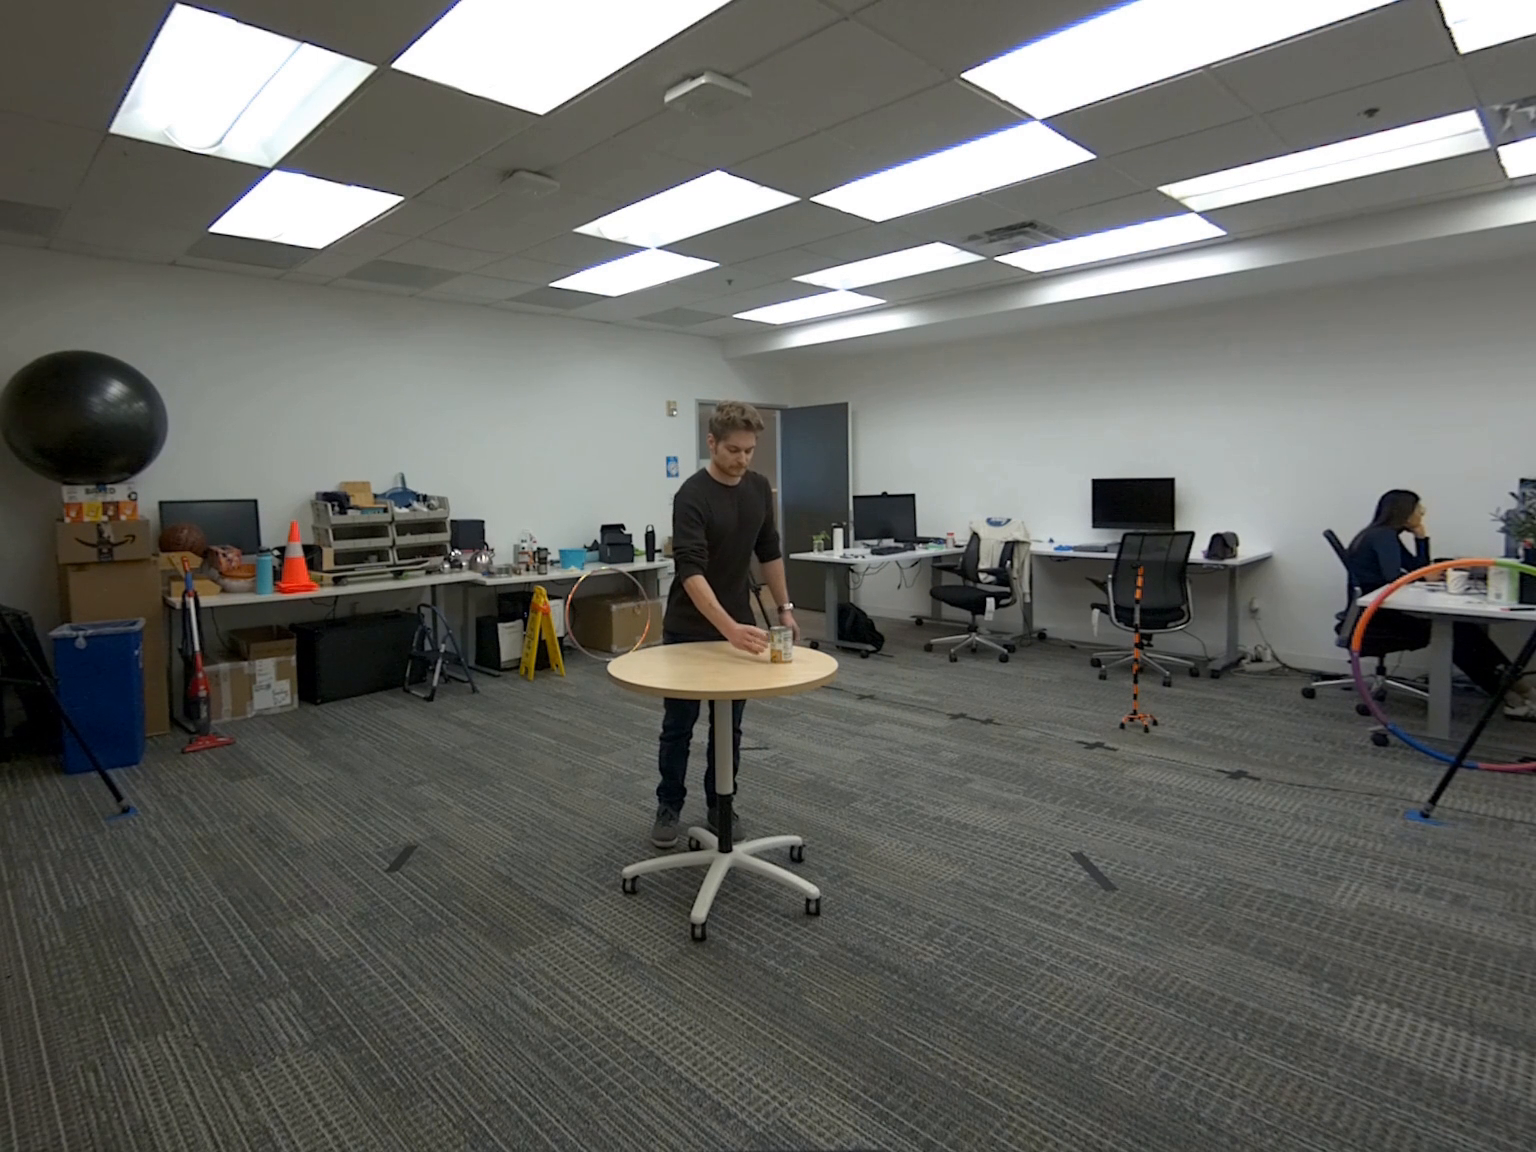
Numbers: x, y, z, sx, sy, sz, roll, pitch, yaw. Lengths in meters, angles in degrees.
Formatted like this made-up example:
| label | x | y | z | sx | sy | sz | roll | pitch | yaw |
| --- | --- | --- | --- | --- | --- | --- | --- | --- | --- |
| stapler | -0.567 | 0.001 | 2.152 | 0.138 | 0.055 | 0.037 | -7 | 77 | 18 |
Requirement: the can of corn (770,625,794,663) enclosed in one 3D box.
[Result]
| label | x | y | z | sx | sy | sz | roll | pitch | yaw |
| --- | --- | --- | --- | --- | --- | --- | --- | --- | --- |
| can of corn | 0.031 | 0.230 | 2.863 | 0.074 | 0.110 | 0.075 | -3 | 7 | -1 |
